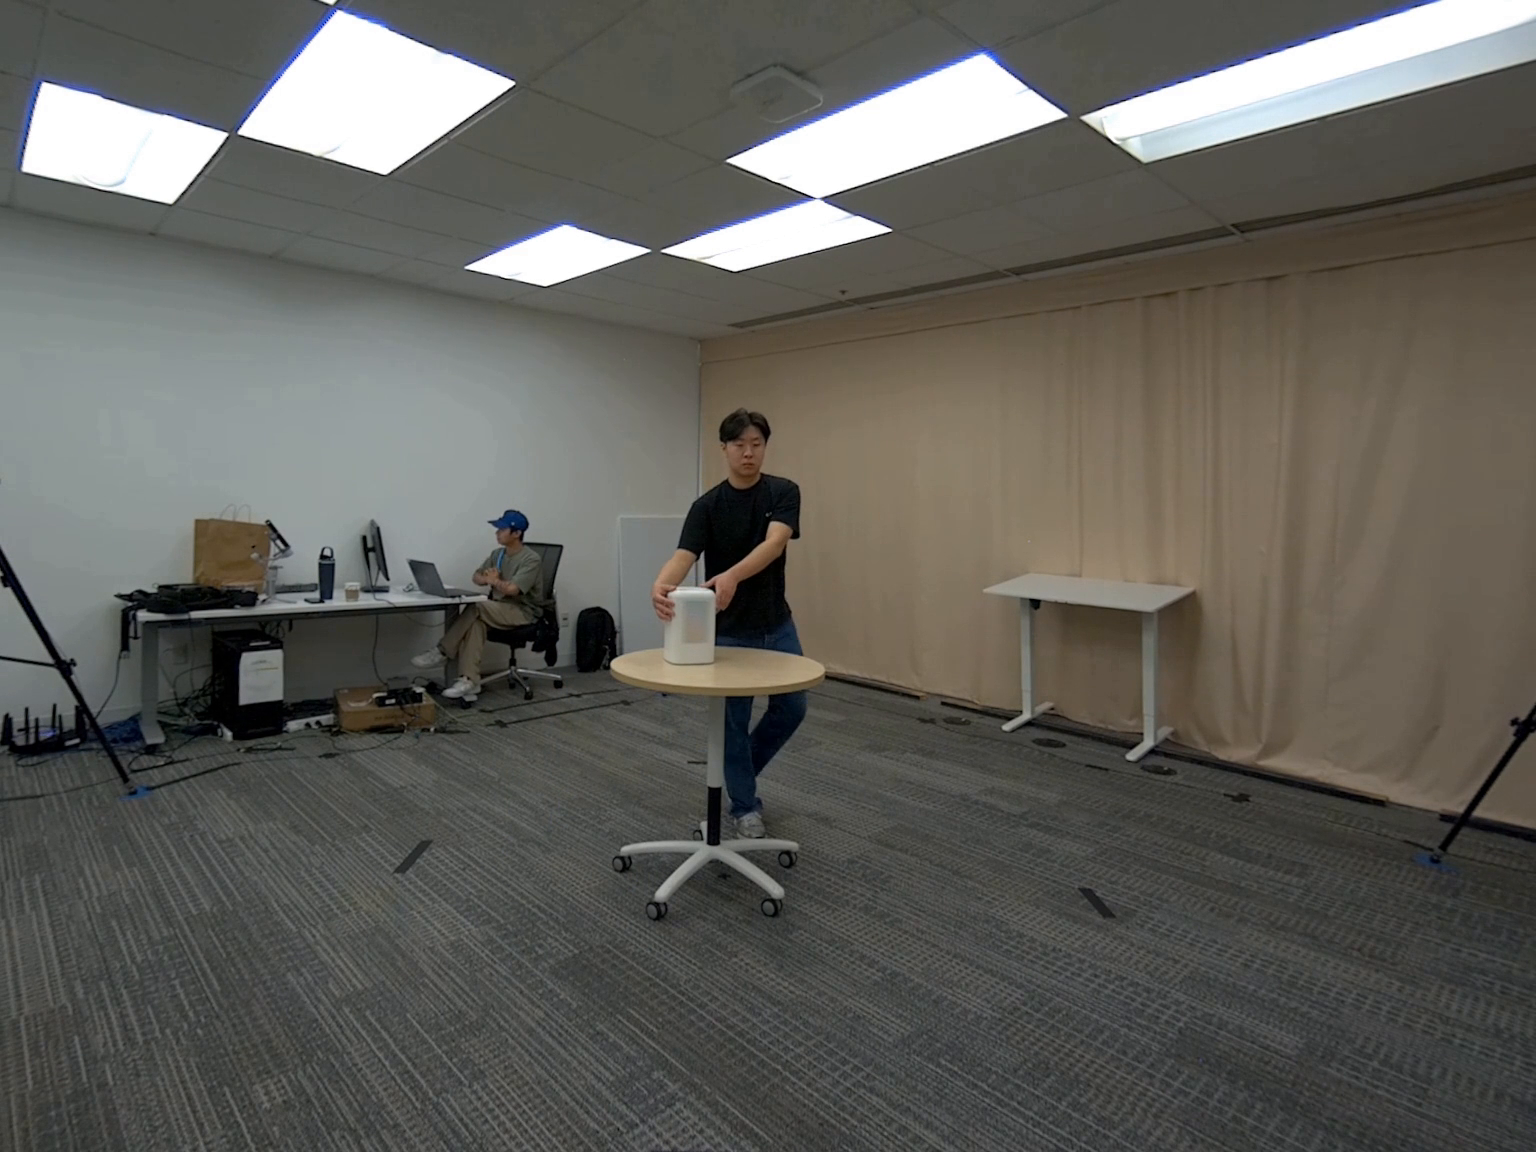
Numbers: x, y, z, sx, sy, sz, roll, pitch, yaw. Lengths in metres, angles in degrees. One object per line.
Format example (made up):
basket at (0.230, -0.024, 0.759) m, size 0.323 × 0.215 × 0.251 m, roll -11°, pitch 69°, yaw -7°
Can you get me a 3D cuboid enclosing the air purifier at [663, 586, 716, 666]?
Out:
air purifier at (-0.290, 0.178, 3.070) m, size 0.169 × 0.265 × 0.173 m, roll 2°, pitch 3°, yaw -16°
